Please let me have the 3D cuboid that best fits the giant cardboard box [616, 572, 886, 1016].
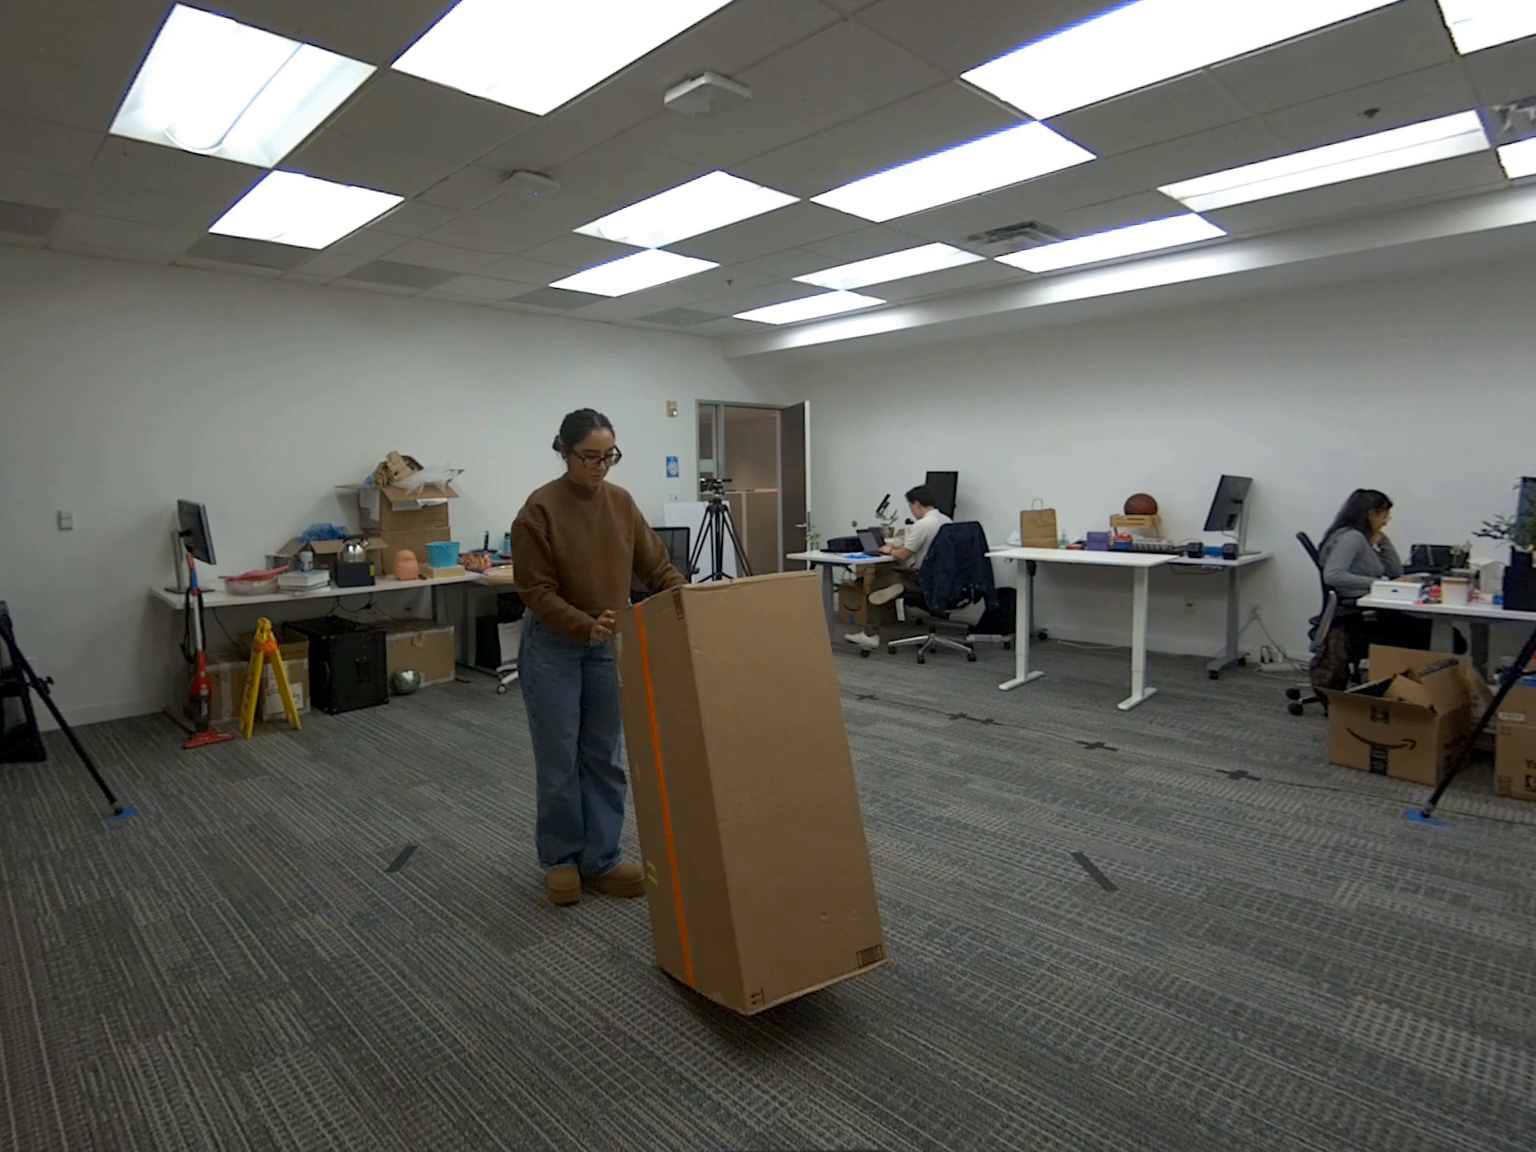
[{"bbox_3d":[-0.087,0.560,2.410,0.436,1.038,0.591,-4,-11,-30],"label":"giant cardboard box"}]
